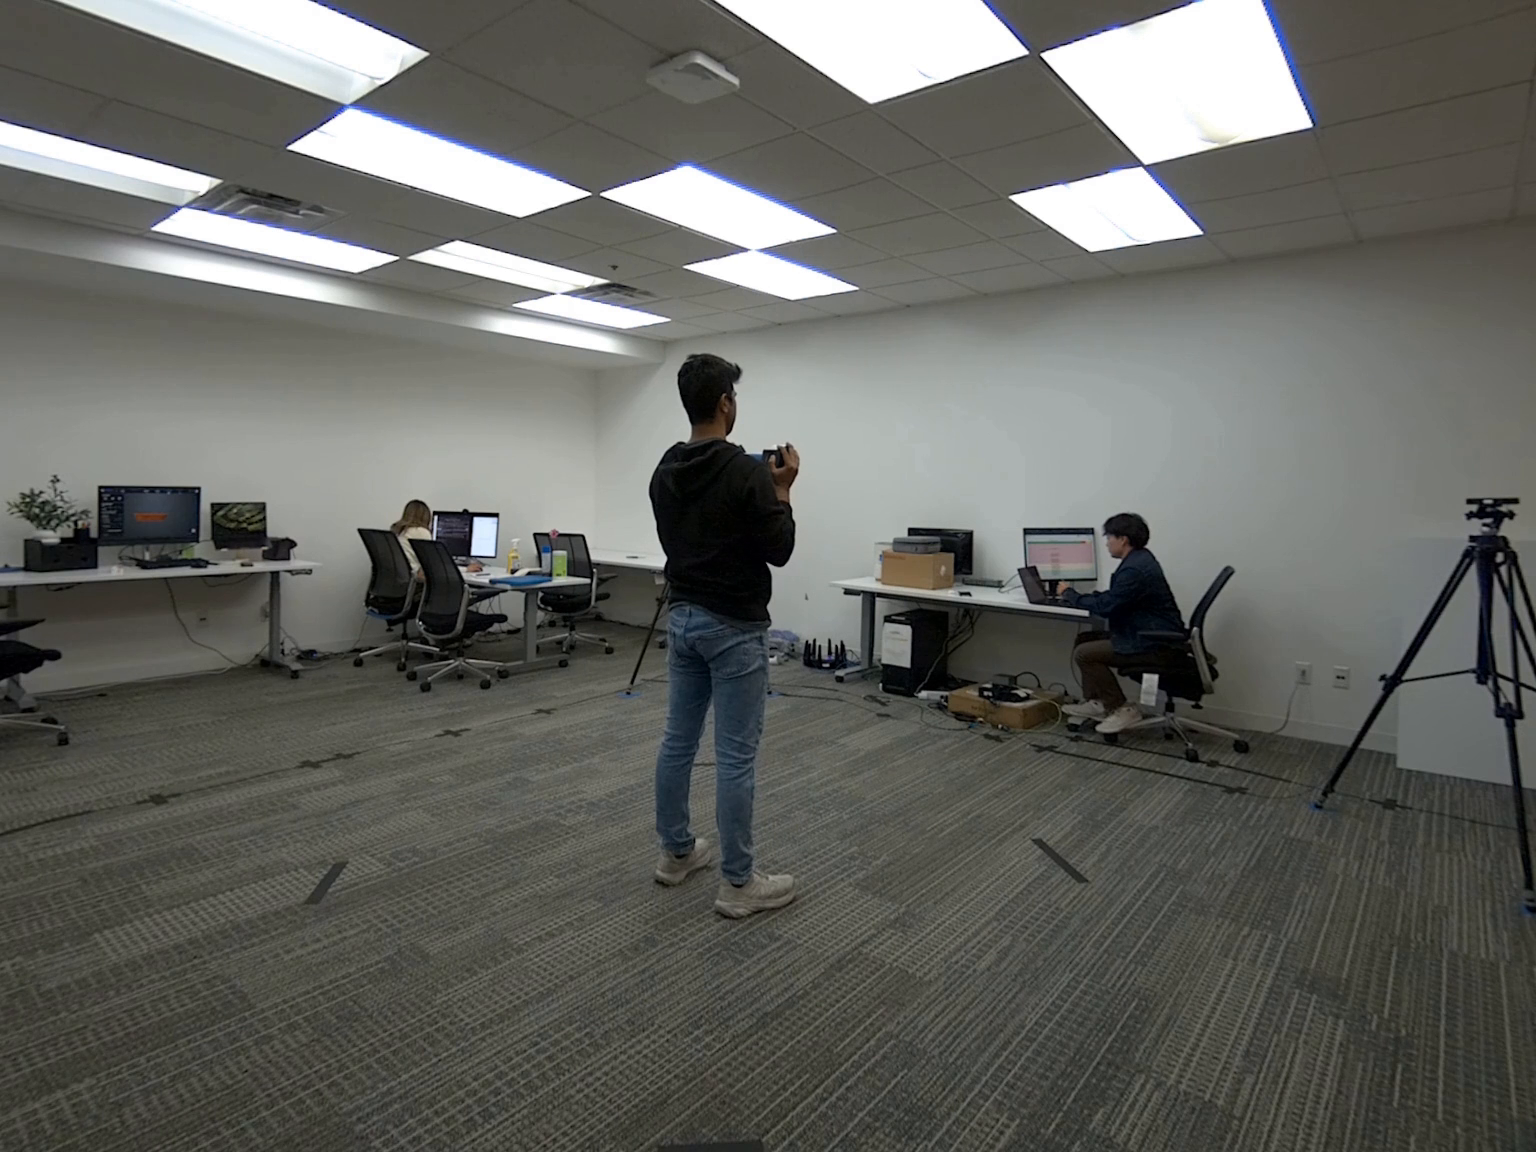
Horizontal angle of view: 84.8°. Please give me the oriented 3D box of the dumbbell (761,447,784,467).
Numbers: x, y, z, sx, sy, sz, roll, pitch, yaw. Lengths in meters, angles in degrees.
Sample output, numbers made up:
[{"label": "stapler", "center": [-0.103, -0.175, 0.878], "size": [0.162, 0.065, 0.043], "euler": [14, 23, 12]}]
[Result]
[{"label": "dumbbell", "center": [-0.061, -0.411, 3.027], "size": [0.304, 0.123, 0.105], "euler": [8, -3, 40]}]
